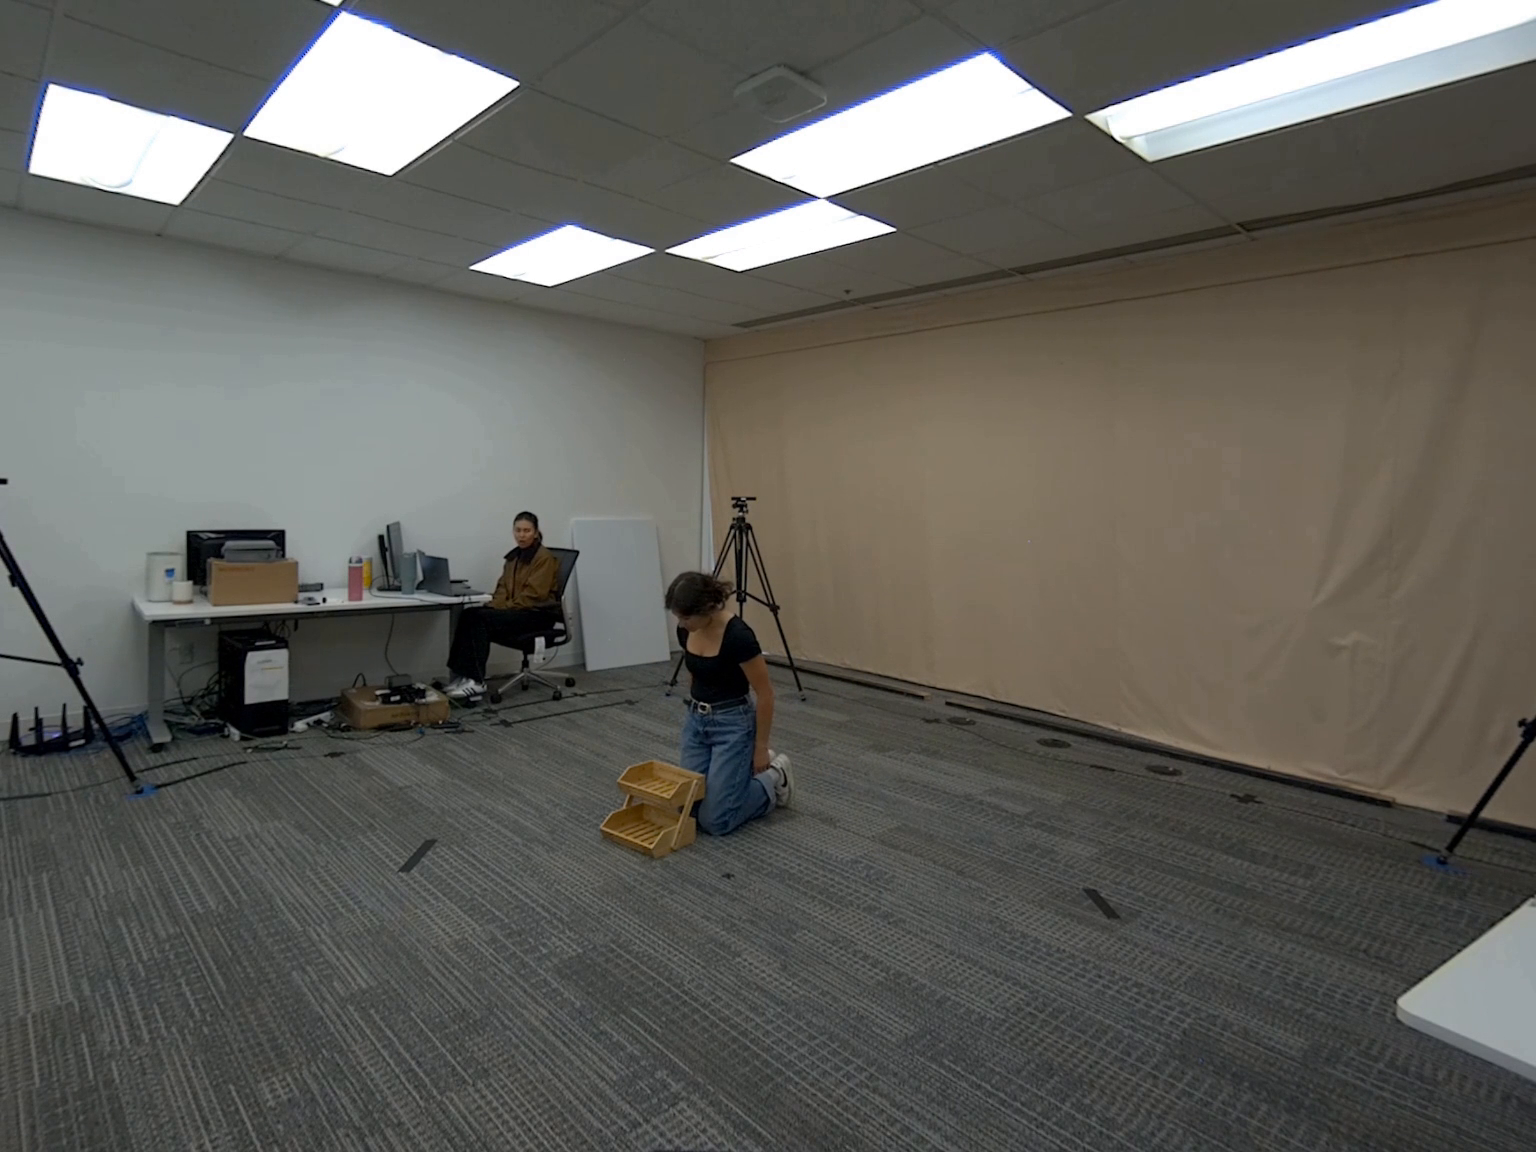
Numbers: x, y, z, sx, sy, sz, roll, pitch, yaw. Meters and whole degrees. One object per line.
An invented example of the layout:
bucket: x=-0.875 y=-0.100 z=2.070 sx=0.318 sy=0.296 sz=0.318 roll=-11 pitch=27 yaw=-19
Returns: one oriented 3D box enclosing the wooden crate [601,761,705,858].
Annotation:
wooden crate: x=-0.483 y=0.939 z=3.422 sx=0.332 sy=0.273 sz=0.295 roll=4 pitch=4 yaw=38
